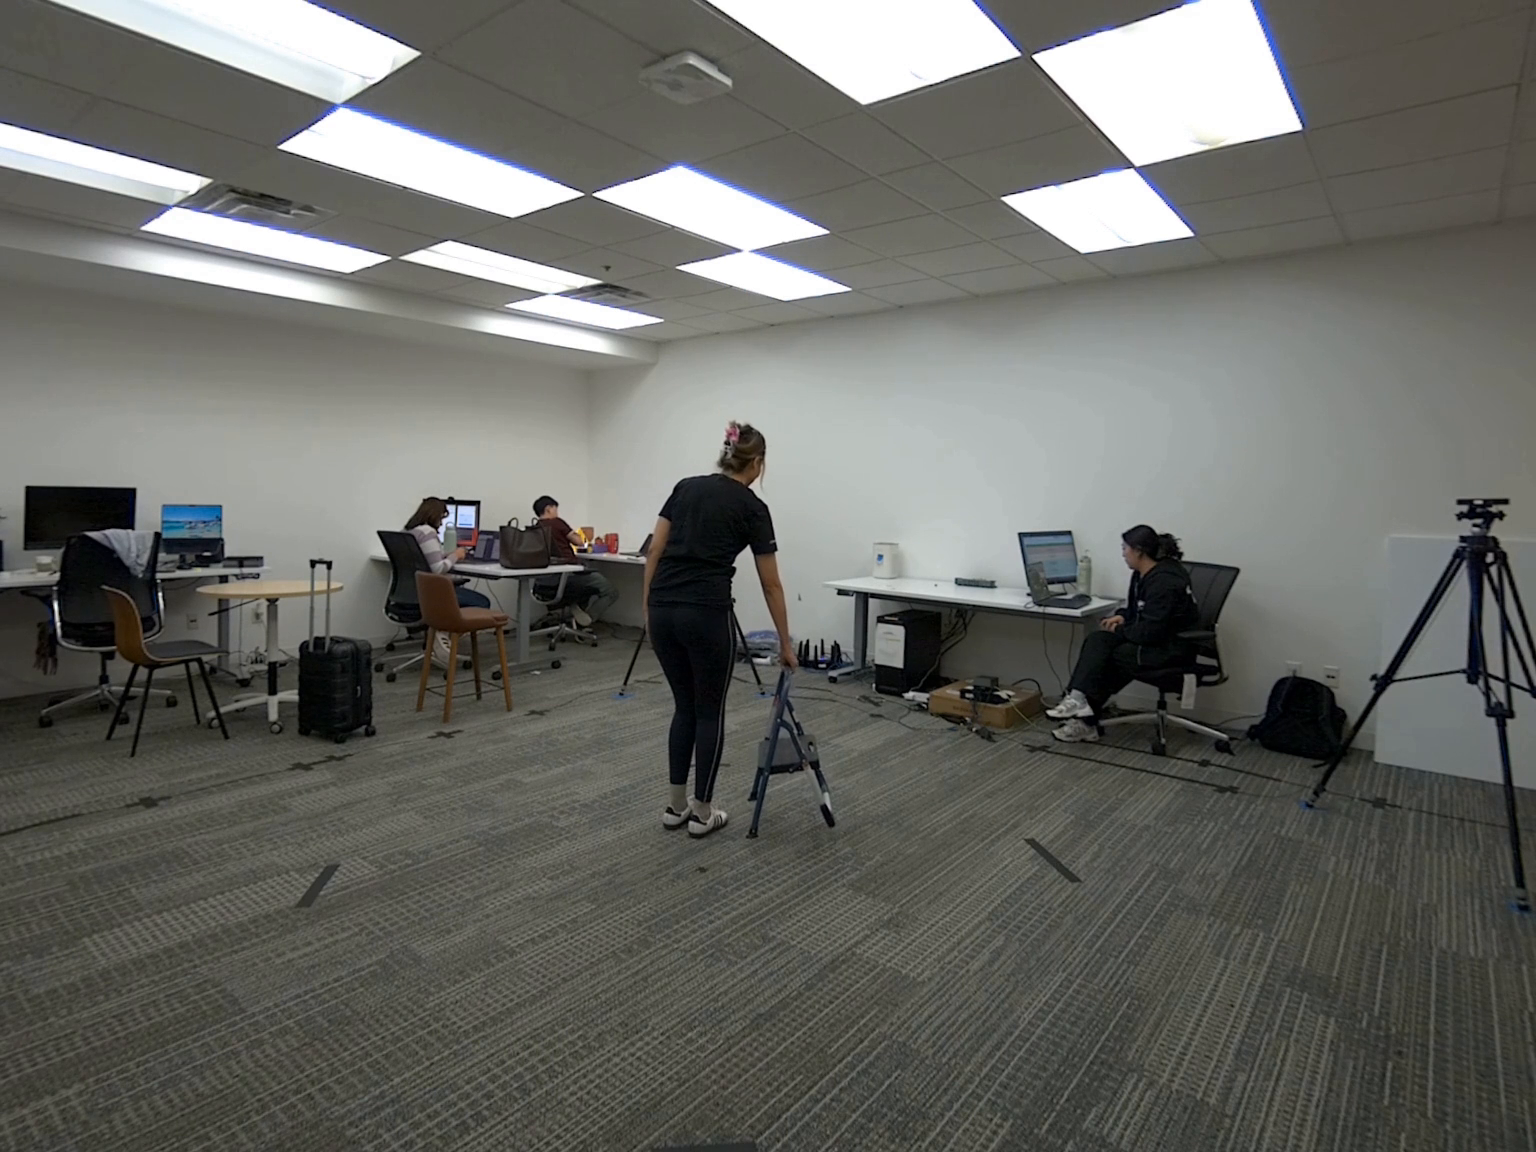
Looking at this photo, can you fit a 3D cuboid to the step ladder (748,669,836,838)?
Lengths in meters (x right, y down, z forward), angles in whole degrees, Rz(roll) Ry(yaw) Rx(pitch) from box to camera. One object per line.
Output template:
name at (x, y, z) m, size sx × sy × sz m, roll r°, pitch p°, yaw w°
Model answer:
step ladder at (0.037, 0.677, 3.479) m, size 0.350 × 0.604 × 0.431 m, roll -9°, pitch 4°, yaw 2°
